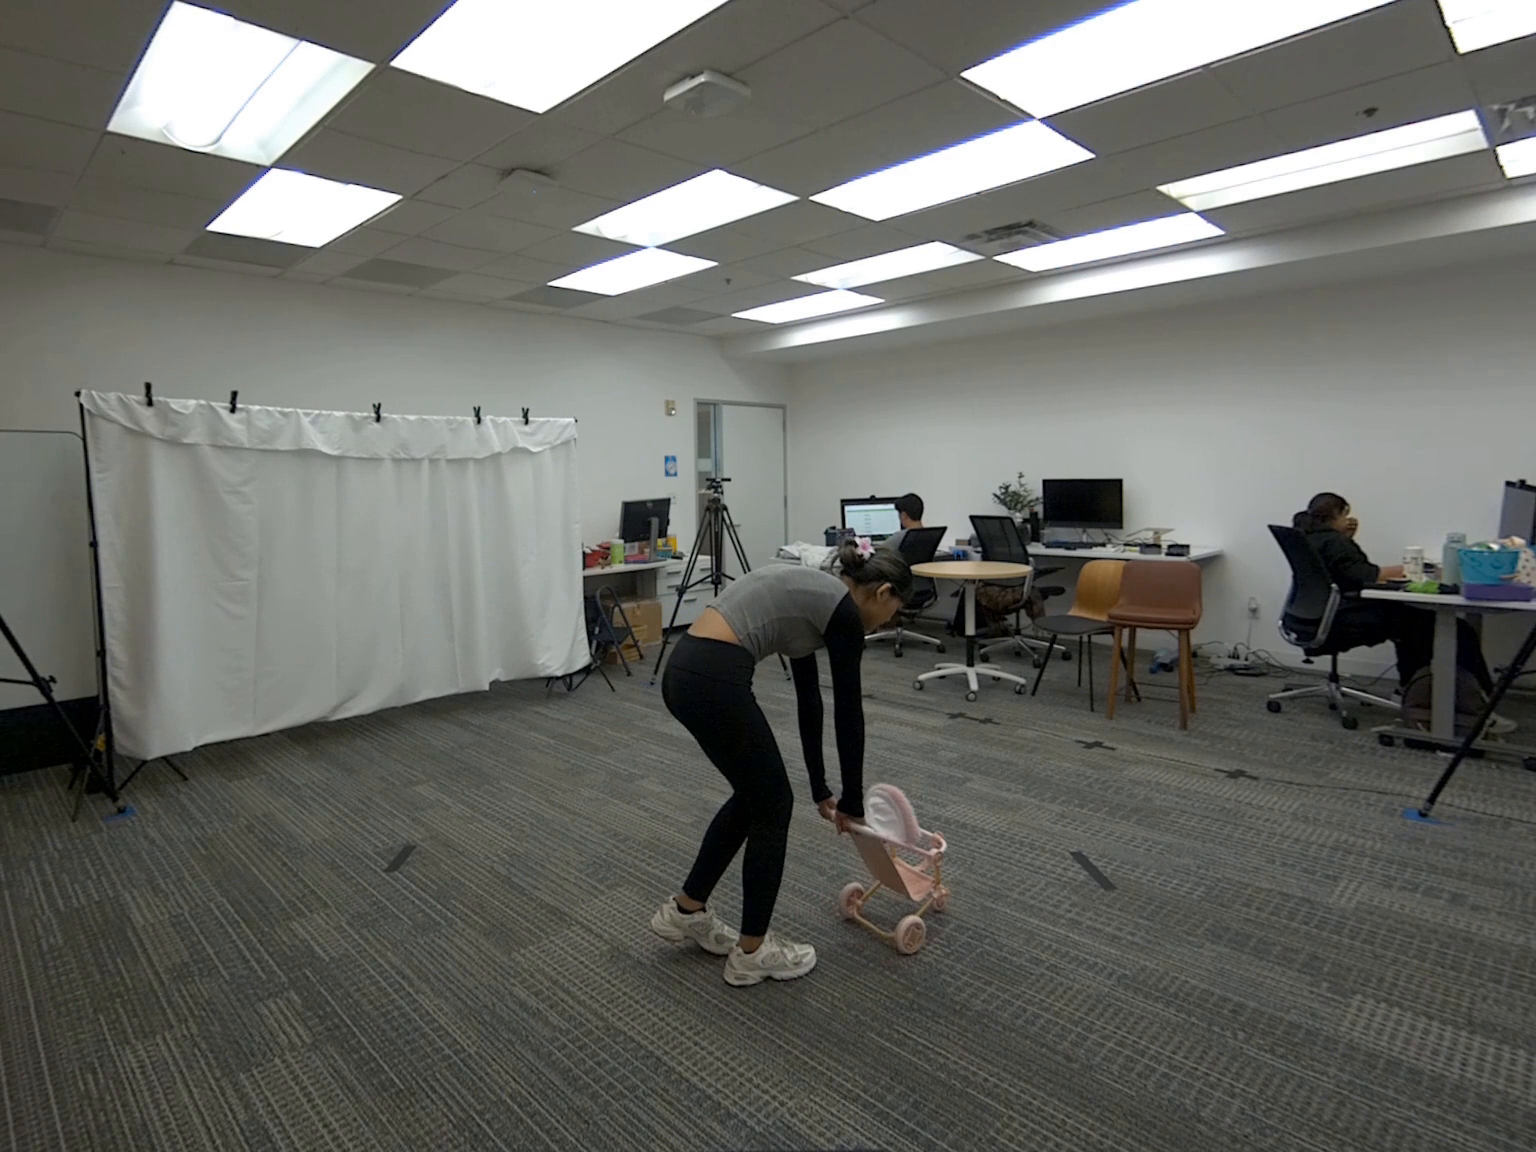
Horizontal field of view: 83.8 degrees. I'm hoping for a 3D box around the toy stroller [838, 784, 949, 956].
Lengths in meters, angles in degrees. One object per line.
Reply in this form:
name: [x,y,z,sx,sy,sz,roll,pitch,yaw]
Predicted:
toy stroller: [0.390,0.867,2.621,0.336,0.527,0.289,-22,15,-28]
